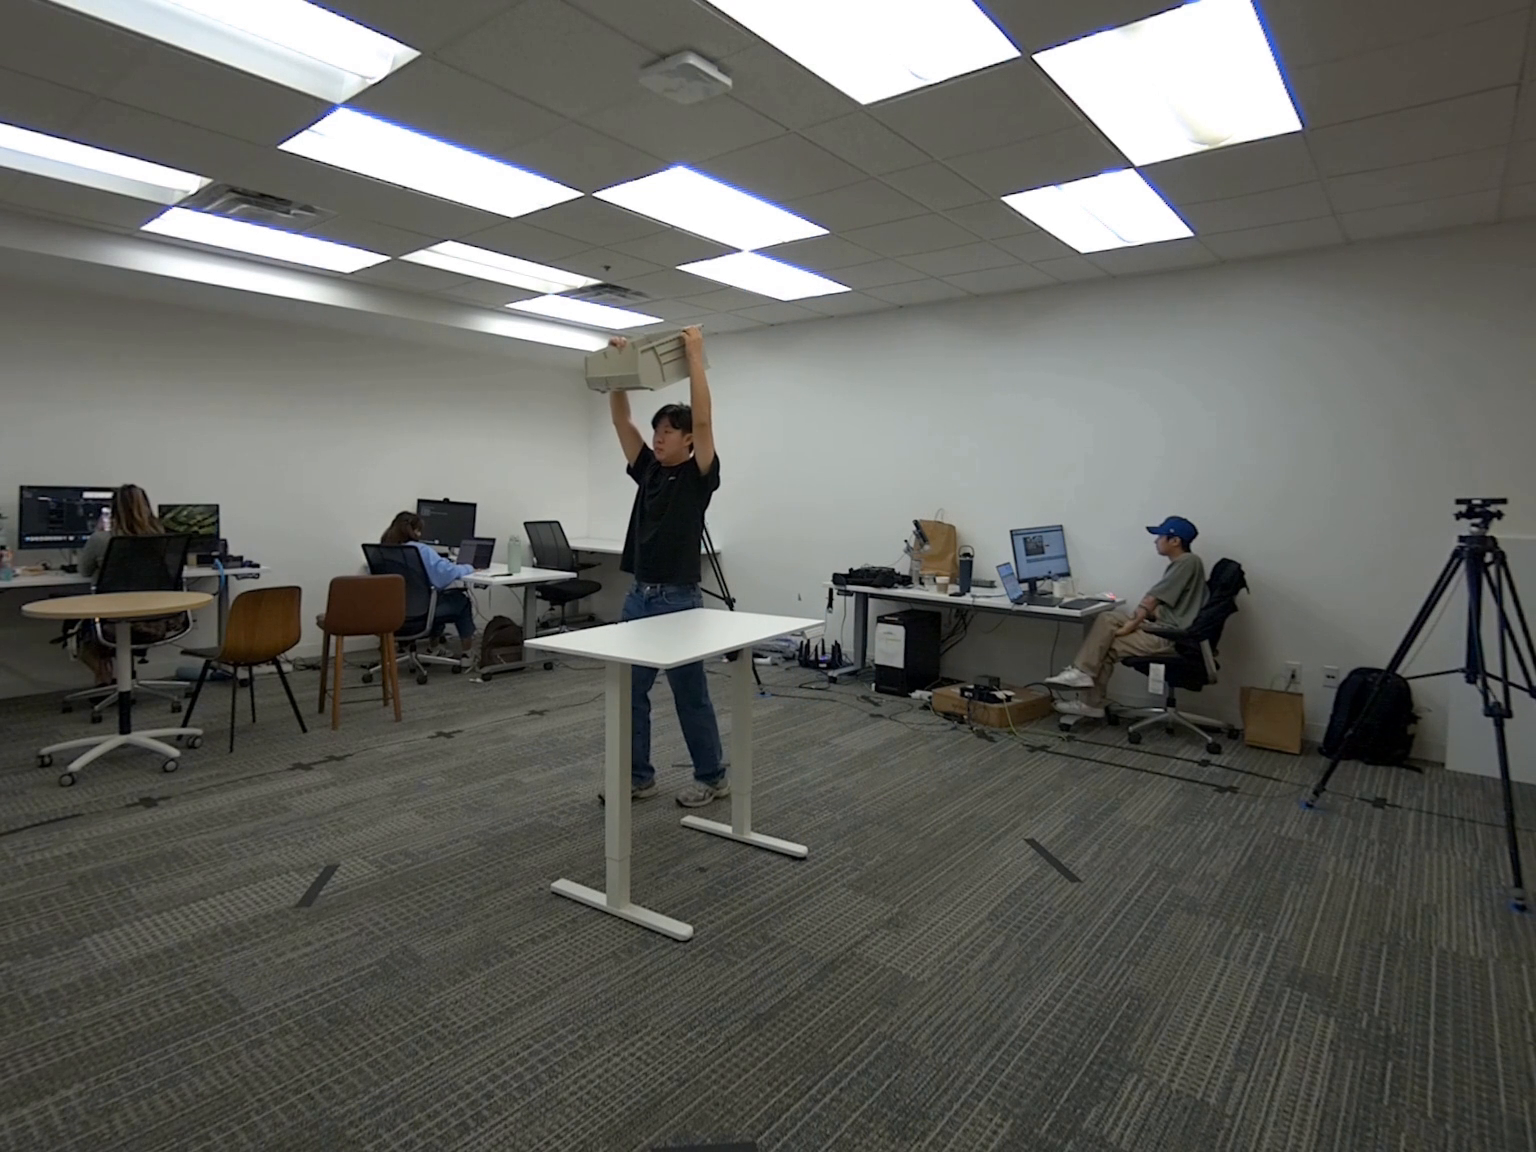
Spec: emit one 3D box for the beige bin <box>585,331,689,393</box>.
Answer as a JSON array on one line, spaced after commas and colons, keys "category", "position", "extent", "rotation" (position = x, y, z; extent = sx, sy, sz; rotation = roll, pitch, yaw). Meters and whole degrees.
[{"category": "beige bin", "position": [-0.528, -0.905, 3.587], "extent": [0.373, 0.184, 0.437], "rotation": [-31, 26, -33]}]
